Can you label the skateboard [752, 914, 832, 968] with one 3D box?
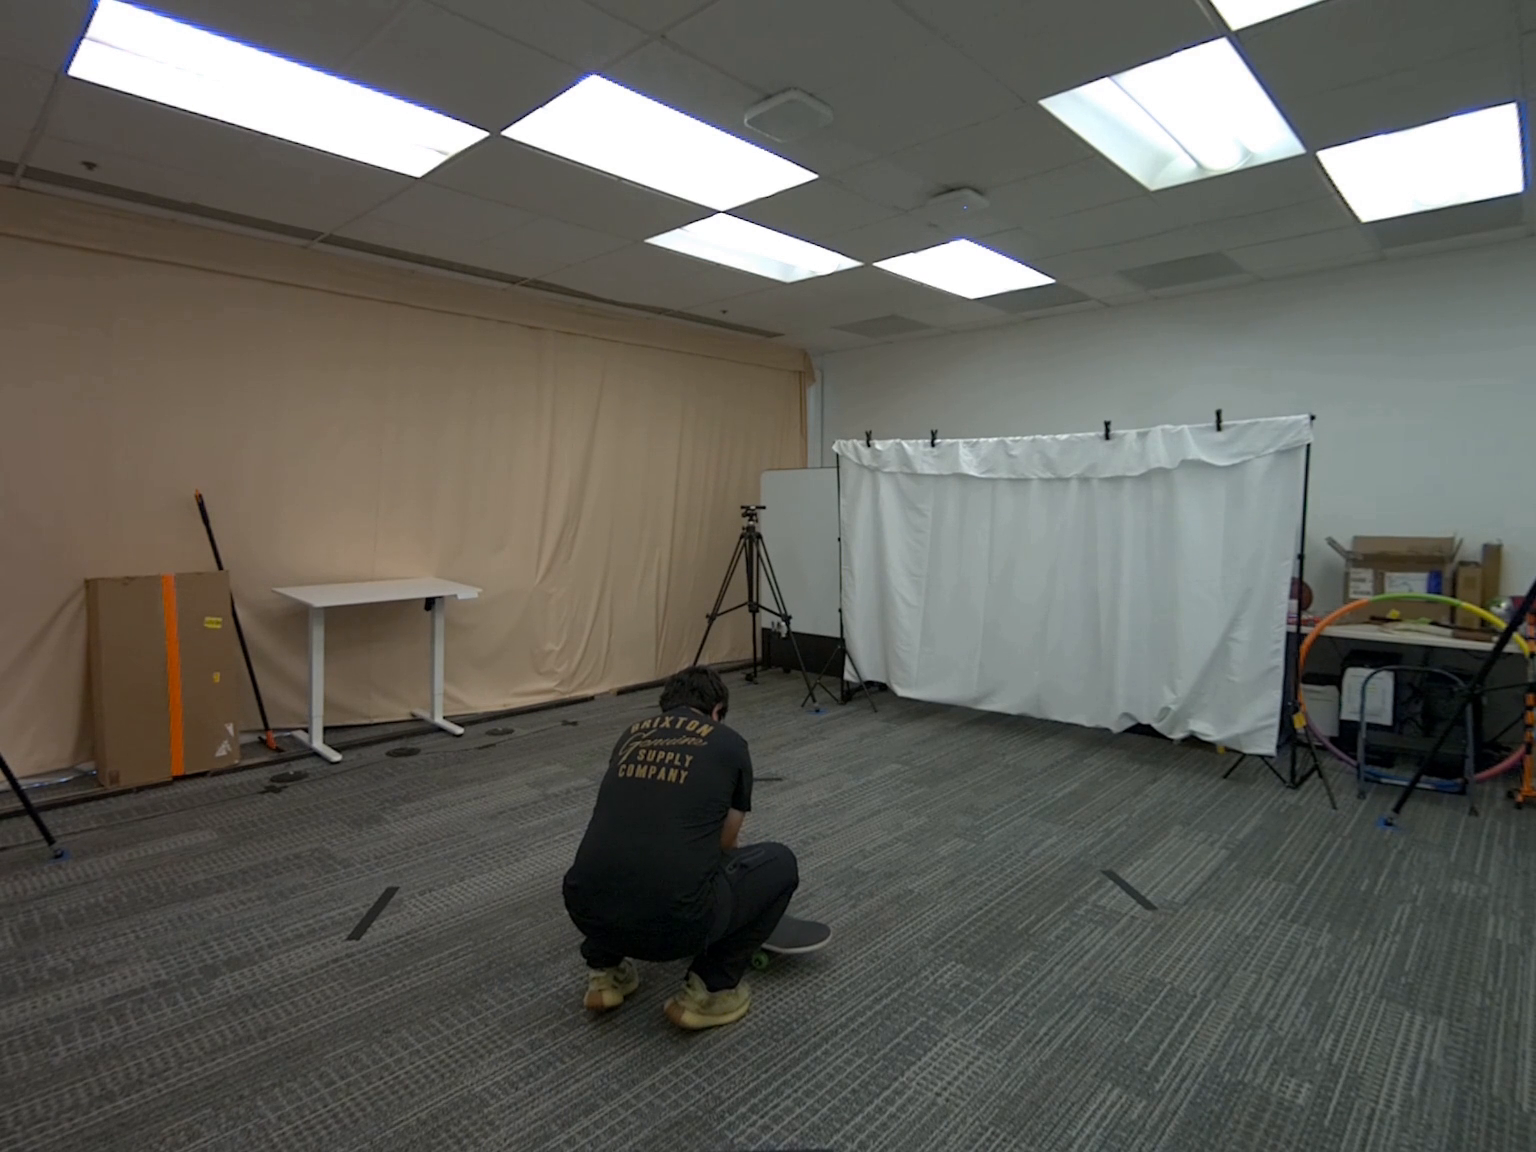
[{"bbox_3d":[-0.175,1.103,2.676,0.804,0.110,0.189,3,6,23],"label":"skateboard"}]
